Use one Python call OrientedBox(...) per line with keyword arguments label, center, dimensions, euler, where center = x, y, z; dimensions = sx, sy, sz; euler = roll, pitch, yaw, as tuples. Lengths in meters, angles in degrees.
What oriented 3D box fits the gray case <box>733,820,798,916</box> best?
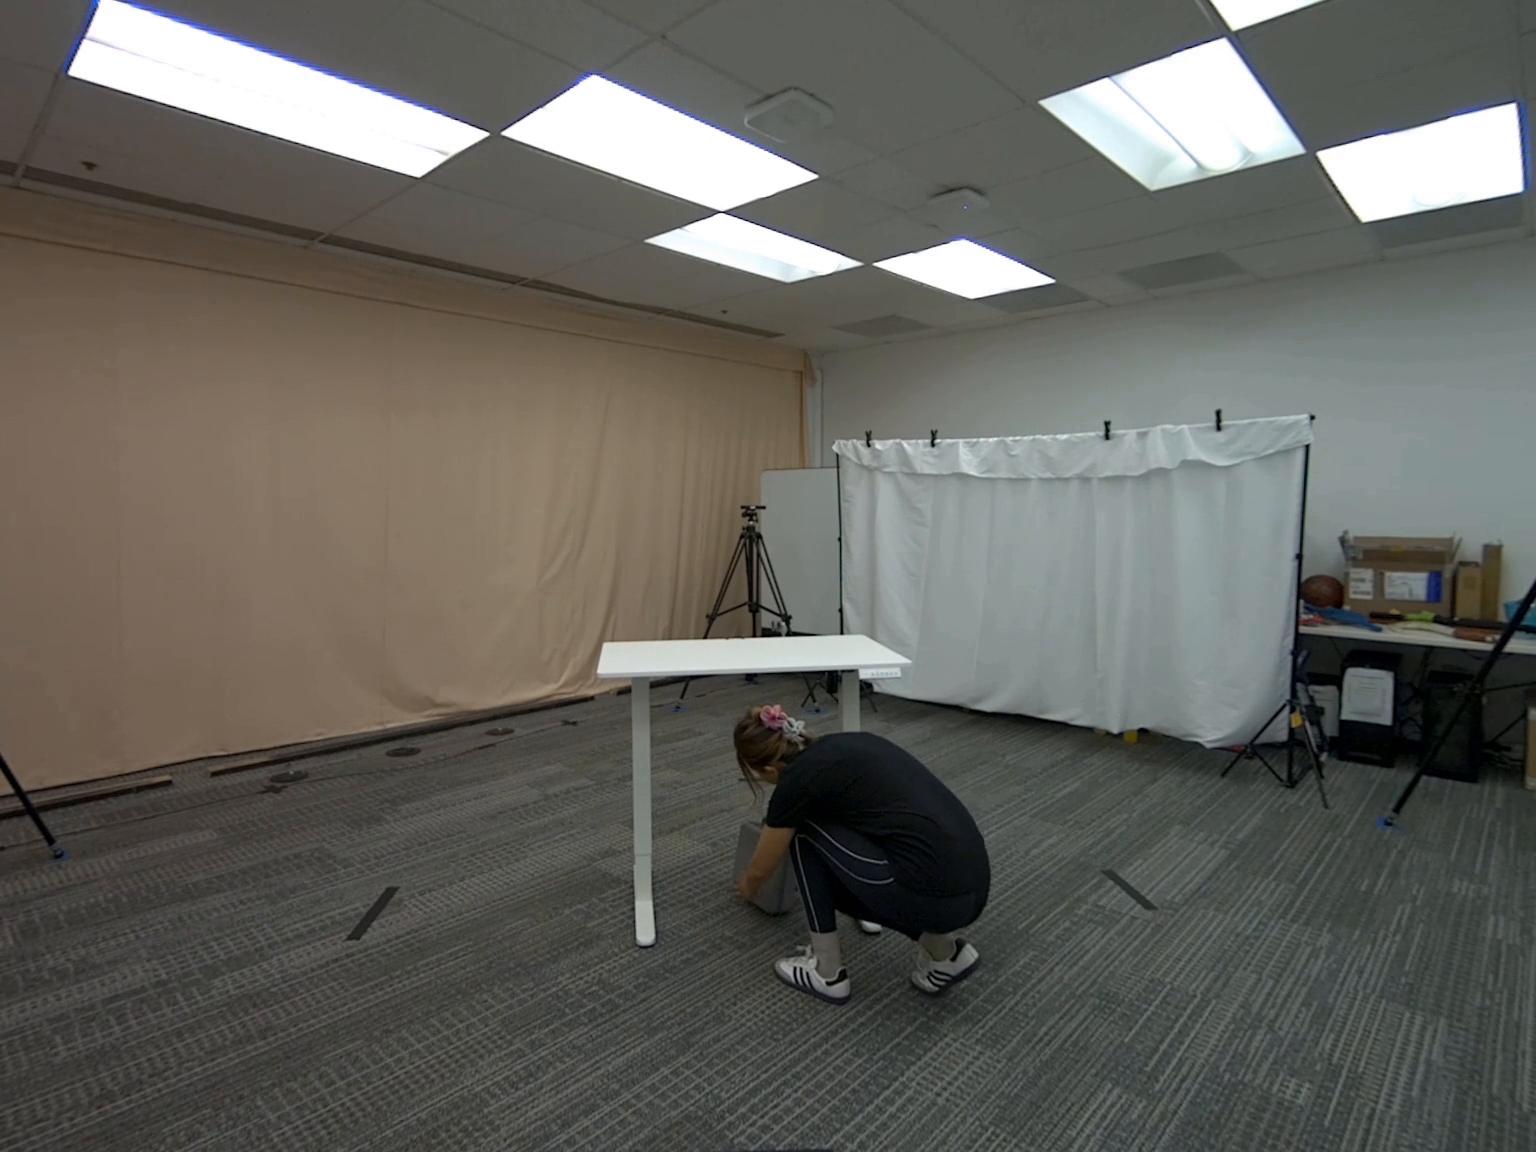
OrientedBox(label="gray case", center=(-0.007, 1.014, 2.961), dimensions=(0.101, 0.261, 0.265), euler=(10, -2, -34))
